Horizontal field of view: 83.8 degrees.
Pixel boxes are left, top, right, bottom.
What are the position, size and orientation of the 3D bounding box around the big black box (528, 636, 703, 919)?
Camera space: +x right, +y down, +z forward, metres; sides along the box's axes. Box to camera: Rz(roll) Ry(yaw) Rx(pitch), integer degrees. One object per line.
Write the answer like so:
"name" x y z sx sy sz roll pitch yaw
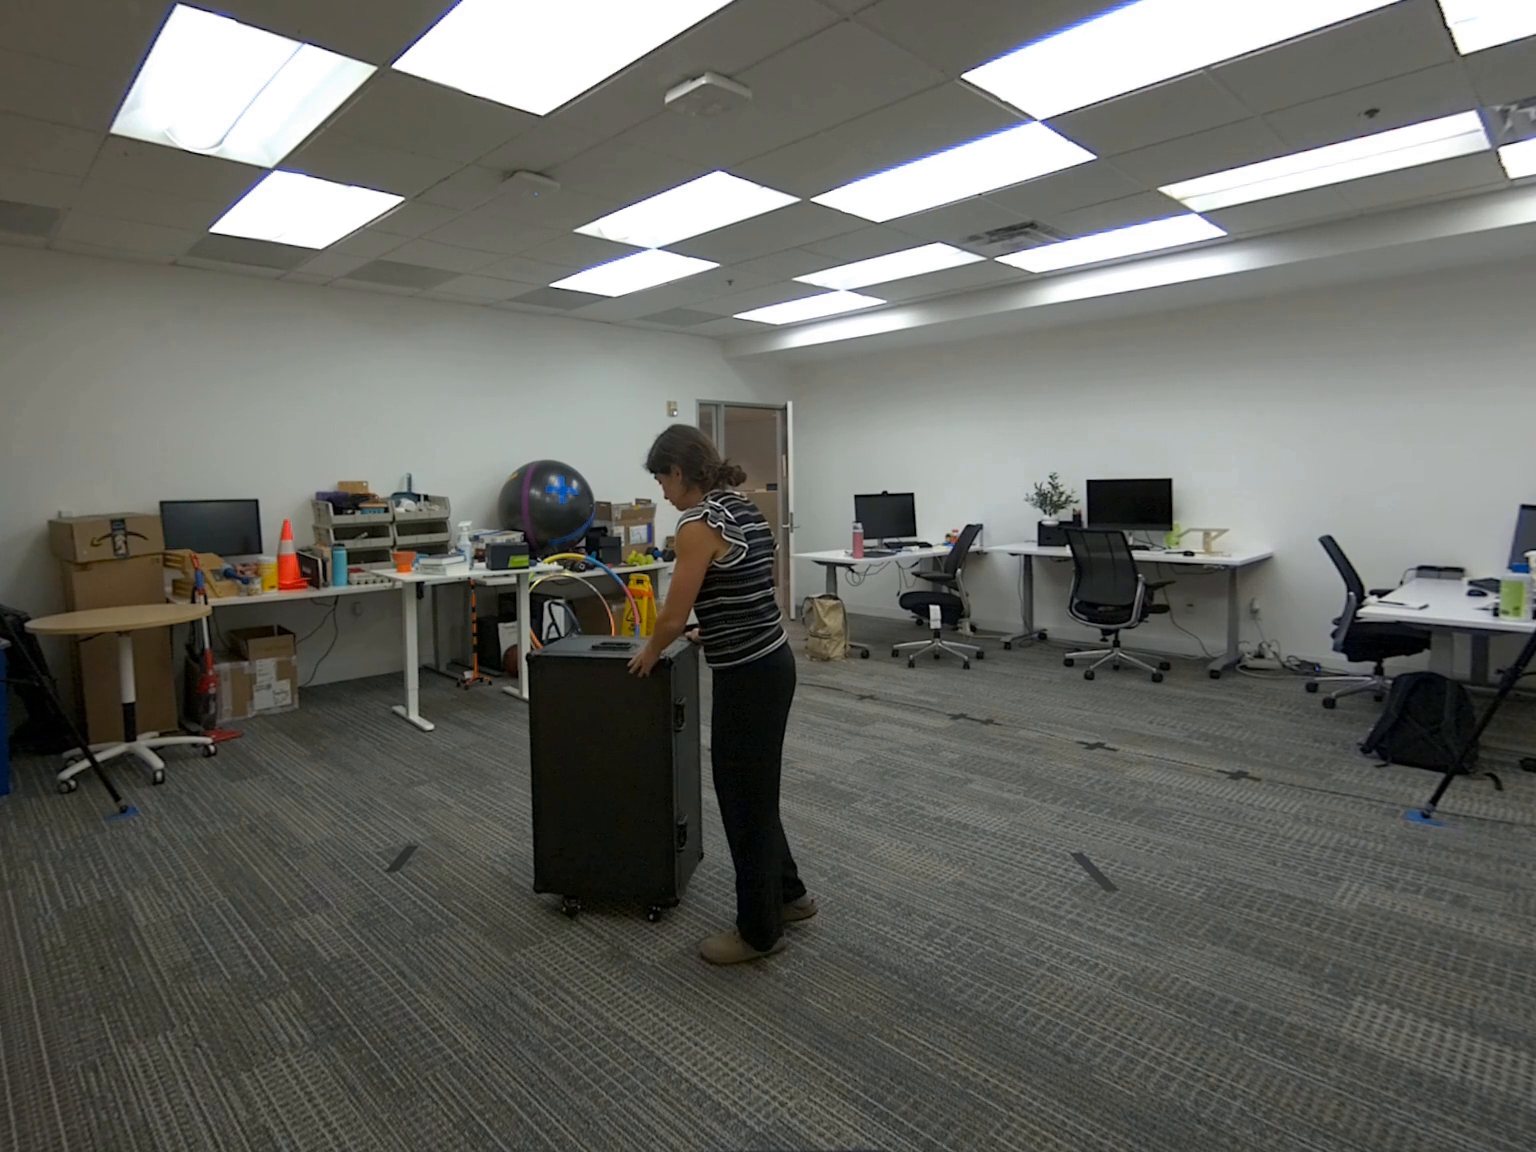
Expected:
"big black box" -0.500 0.653 2.877 0.527 0.859 0.392 0 3 12
